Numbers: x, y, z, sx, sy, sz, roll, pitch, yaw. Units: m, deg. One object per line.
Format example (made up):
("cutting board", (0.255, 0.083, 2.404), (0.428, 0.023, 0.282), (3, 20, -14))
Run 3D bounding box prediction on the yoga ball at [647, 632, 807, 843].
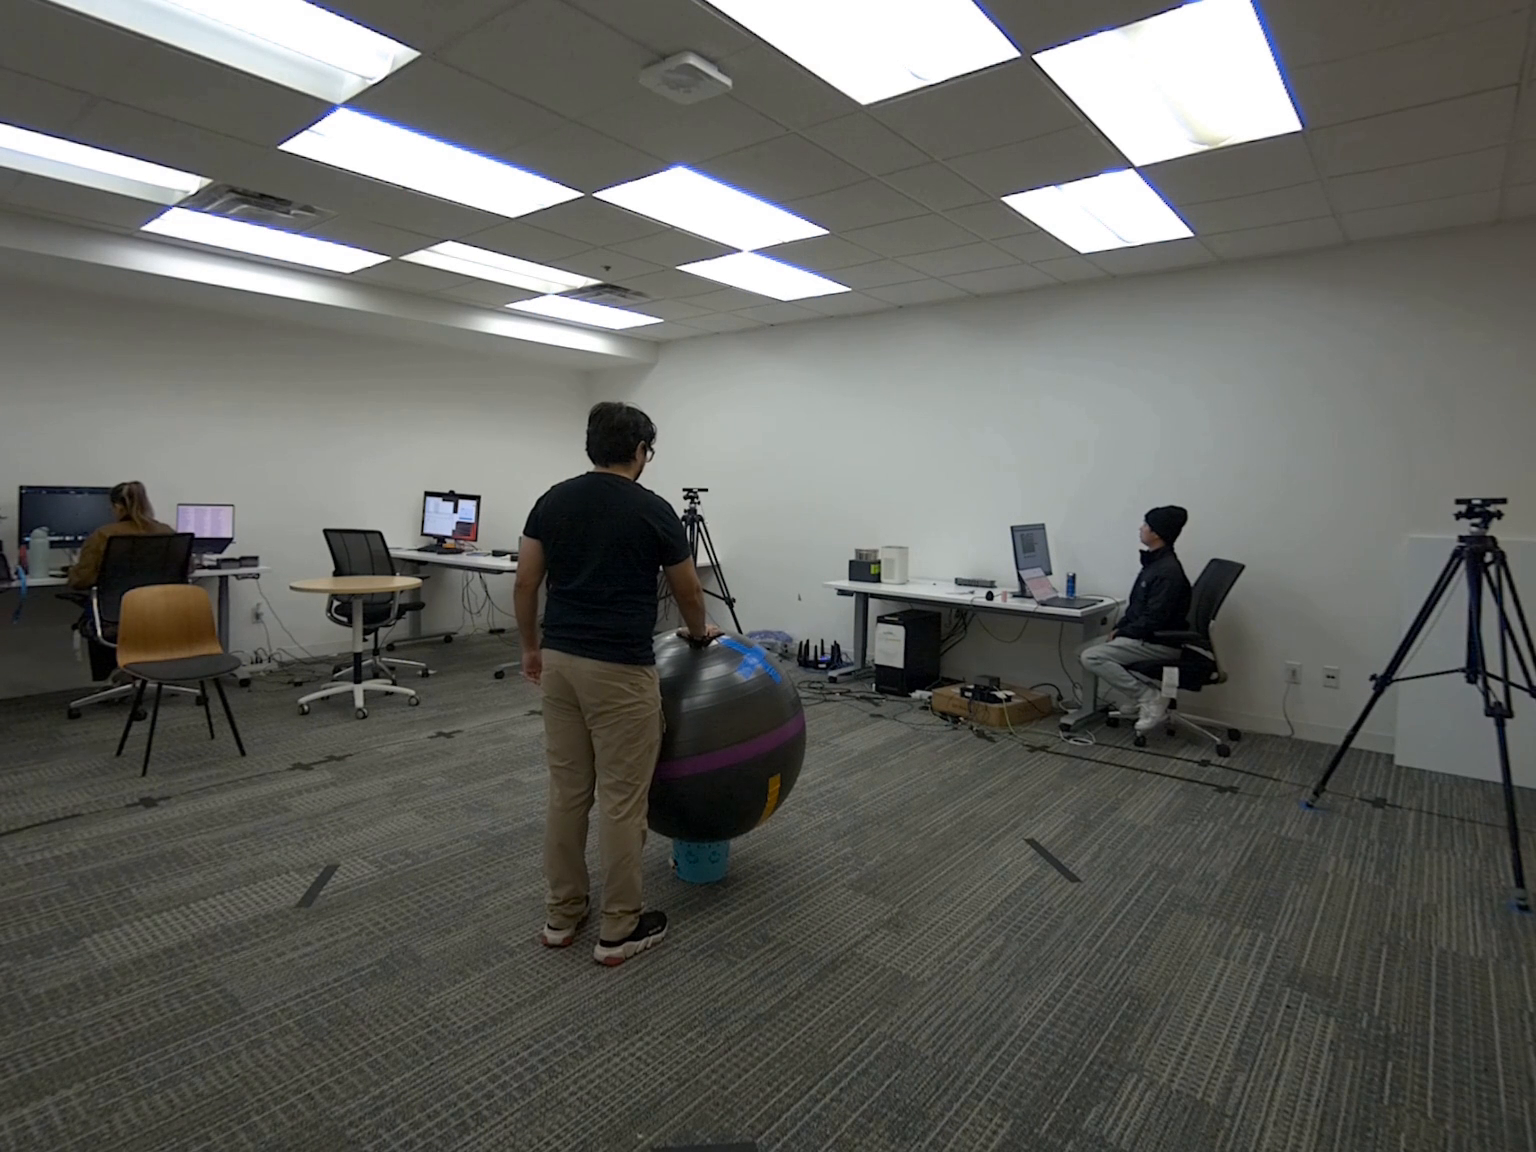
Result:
("yoga ball", (-0.259, 0.565, 3.070), (0.757, 0.756, 0.762), (1, 4, -2))
